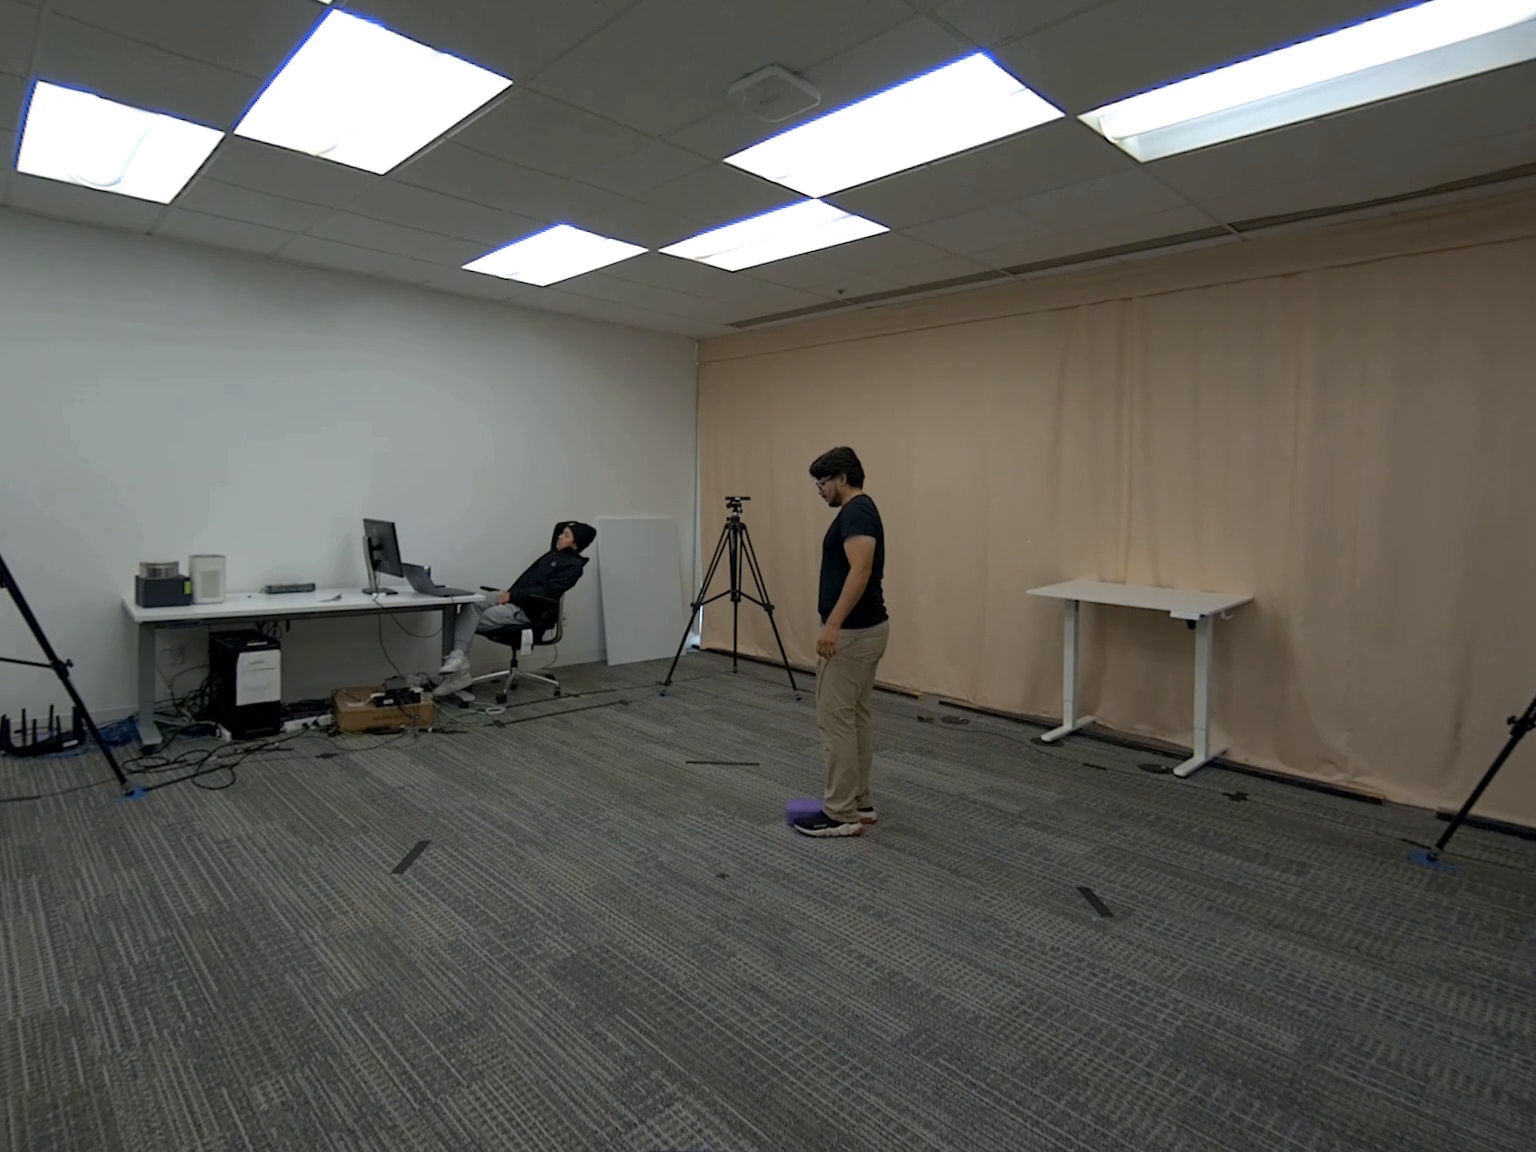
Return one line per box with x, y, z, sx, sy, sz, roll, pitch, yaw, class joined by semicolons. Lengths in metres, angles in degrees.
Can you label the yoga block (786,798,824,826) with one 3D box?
0.195;1.024;3.653;0.229;0.076;0.149;1;6;0;yoga block
